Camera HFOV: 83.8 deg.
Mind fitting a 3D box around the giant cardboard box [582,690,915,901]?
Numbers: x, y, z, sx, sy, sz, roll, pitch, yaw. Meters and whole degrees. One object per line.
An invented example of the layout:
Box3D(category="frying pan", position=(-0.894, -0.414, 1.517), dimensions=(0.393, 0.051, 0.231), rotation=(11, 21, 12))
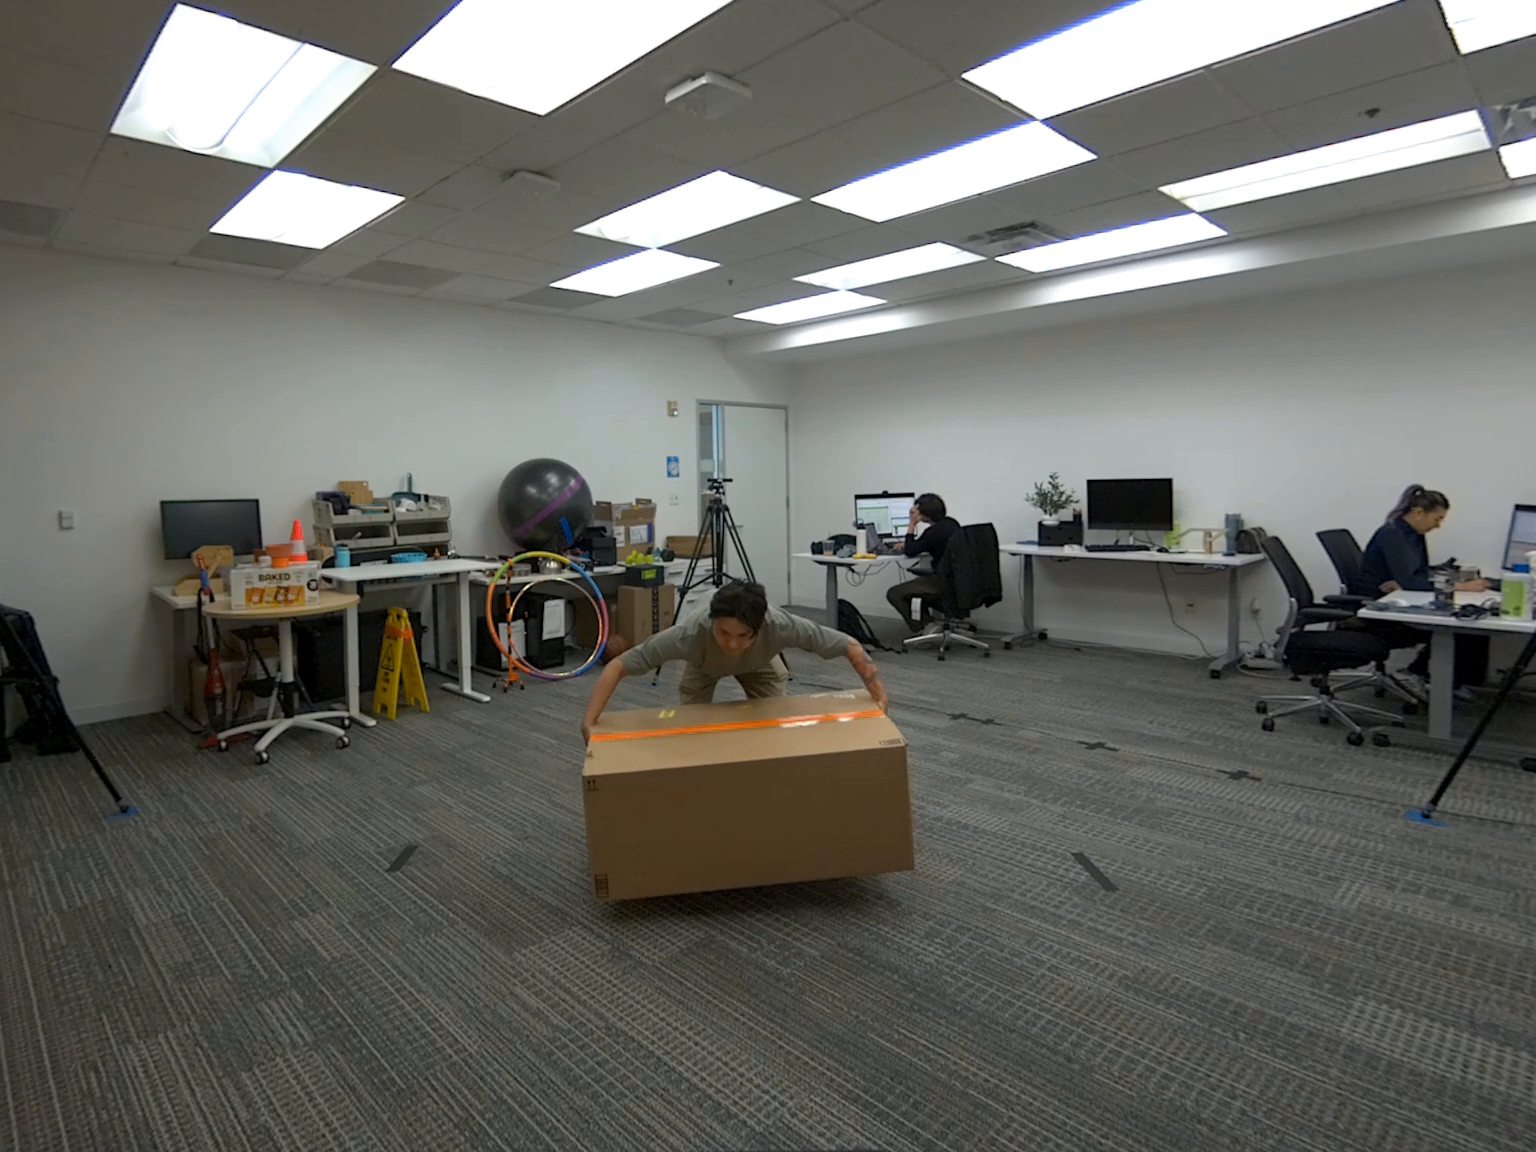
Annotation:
Box3D(category="giant cardboard box", position=(-0.085, 0.715, 2.932), dimensions=(1.023, 0.423, 0.583), rotation=(-5, 8, -4))
